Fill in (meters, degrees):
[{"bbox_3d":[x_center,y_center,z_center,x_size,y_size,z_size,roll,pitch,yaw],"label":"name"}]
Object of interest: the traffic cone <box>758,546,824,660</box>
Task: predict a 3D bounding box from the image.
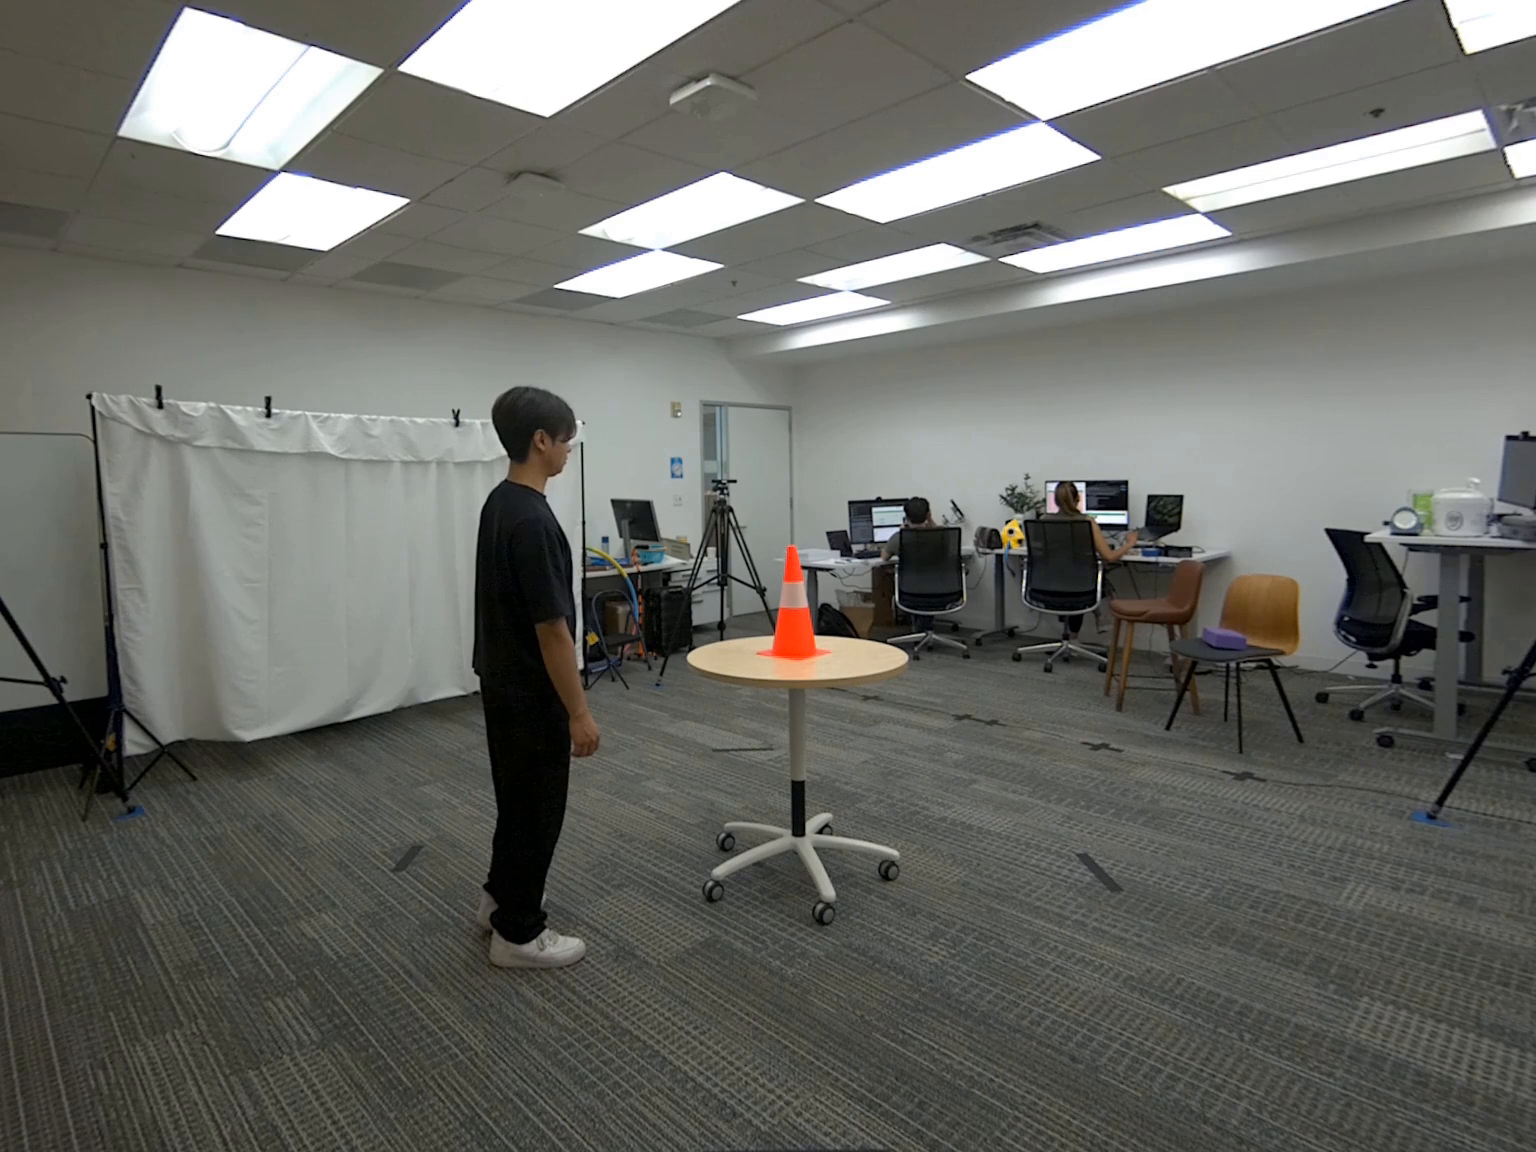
[{"bbox_3d":[0.084,0.088,3.010,0.209,0.382,0.200,1,5,35],"label":"traffic cone"}]
